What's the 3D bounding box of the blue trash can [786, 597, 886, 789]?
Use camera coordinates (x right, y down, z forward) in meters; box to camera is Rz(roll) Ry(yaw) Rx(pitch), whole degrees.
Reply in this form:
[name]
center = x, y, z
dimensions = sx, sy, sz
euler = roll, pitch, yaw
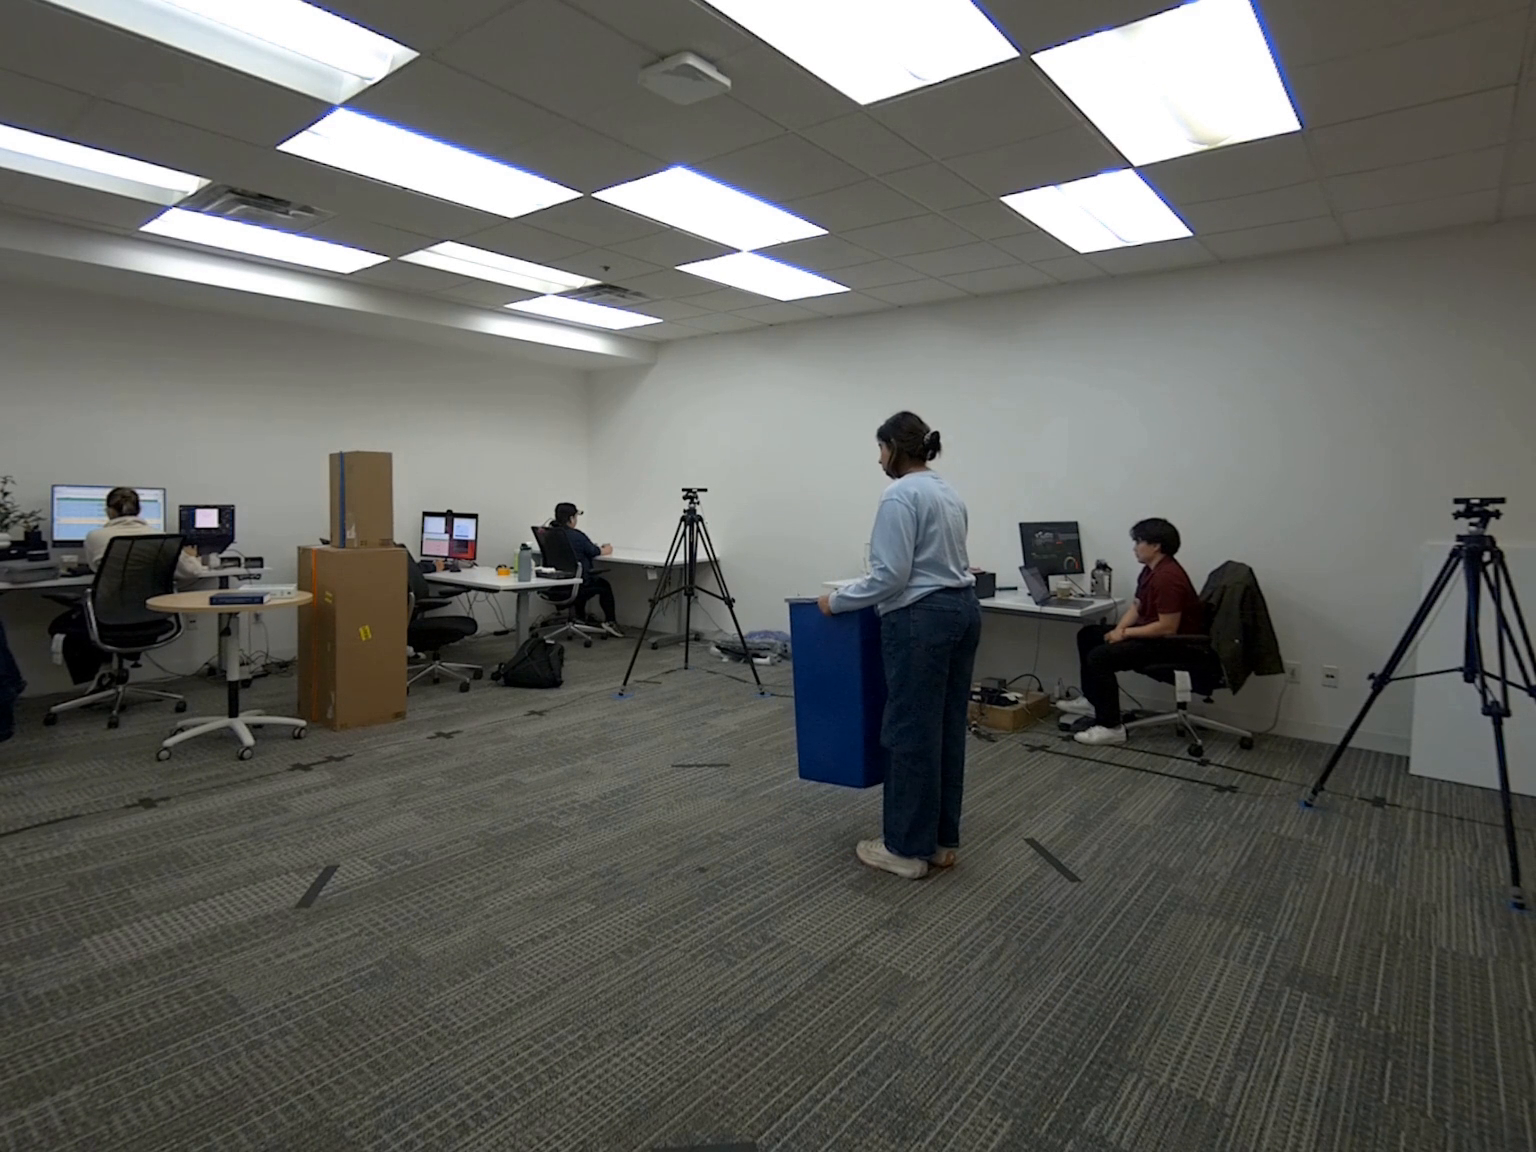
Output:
[blue trash can]
center = 0.303, 0.439, 3.396
dimensions = 0.385, 0.716, 0.366
euler = -4, -4, 39
